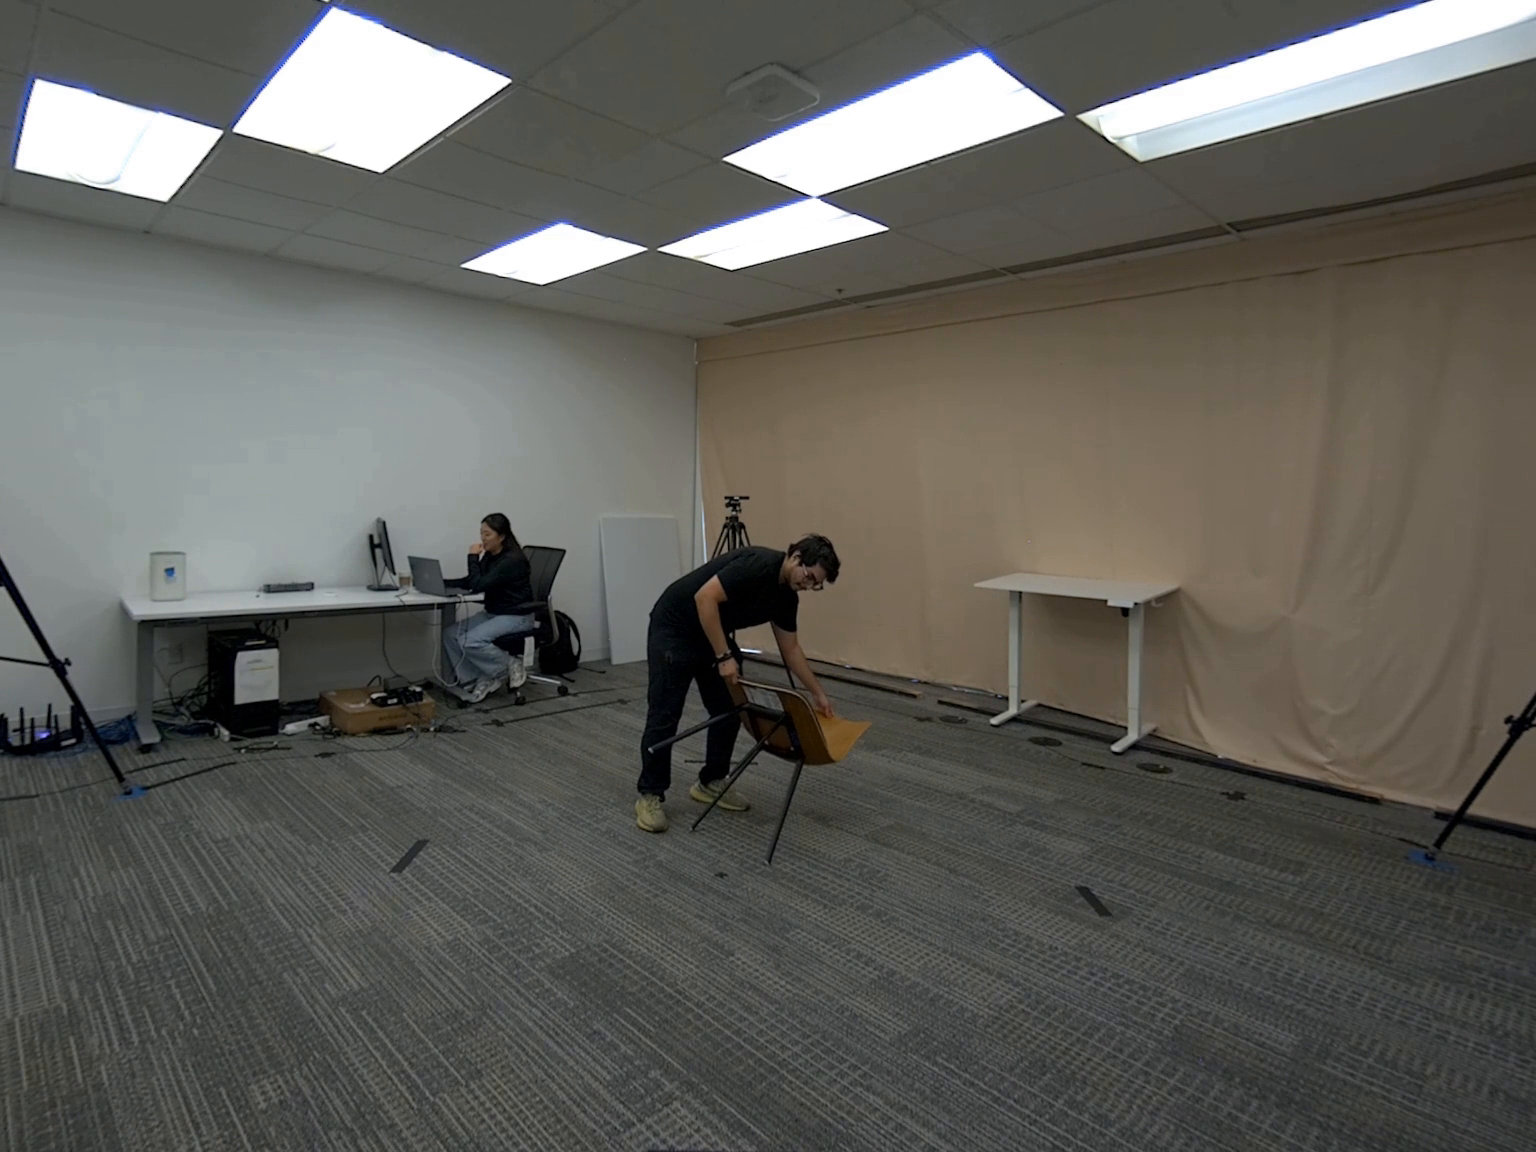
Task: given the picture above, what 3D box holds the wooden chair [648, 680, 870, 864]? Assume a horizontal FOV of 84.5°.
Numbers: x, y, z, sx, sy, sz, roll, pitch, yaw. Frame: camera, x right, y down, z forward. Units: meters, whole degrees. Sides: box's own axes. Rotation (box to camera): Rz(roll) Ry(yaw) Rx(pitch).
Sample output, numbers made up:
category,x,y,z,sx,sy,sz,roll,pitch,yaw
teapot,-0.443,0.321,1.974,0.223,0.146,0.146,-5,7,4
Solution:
category,x,y,z,sx,sy,sz,roll,pitch,yaw
wooden chair,0.021,0.663,3.504,0.490,0.513,0.872,3,31,45
